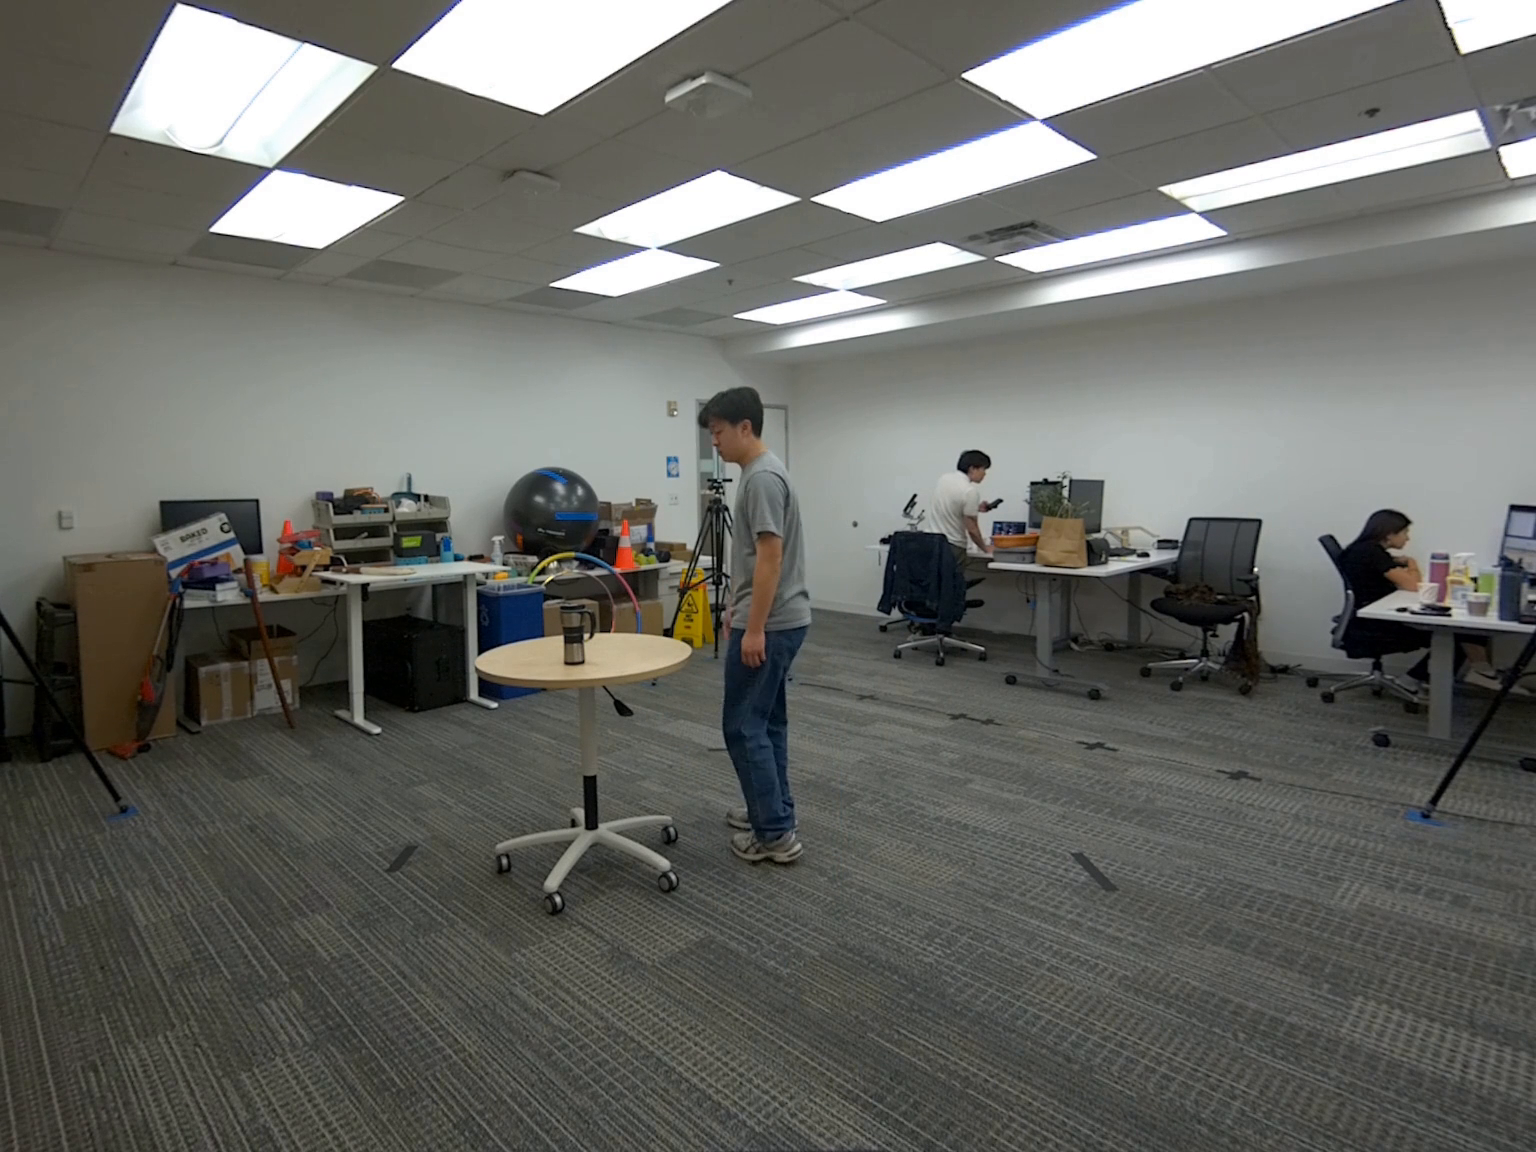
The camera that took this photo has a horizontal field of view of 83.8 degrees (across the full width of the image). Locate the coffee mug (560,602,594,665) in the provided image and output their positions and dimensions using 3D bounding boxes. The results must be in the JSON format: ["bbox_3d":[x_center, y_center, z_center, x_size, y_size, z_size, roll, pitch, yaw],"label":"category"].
[{"bbox_3d":[-0.648,0.202,2.890,0.125,0.203,0.085,-2,0,42],"label":"coffee mug"}]
